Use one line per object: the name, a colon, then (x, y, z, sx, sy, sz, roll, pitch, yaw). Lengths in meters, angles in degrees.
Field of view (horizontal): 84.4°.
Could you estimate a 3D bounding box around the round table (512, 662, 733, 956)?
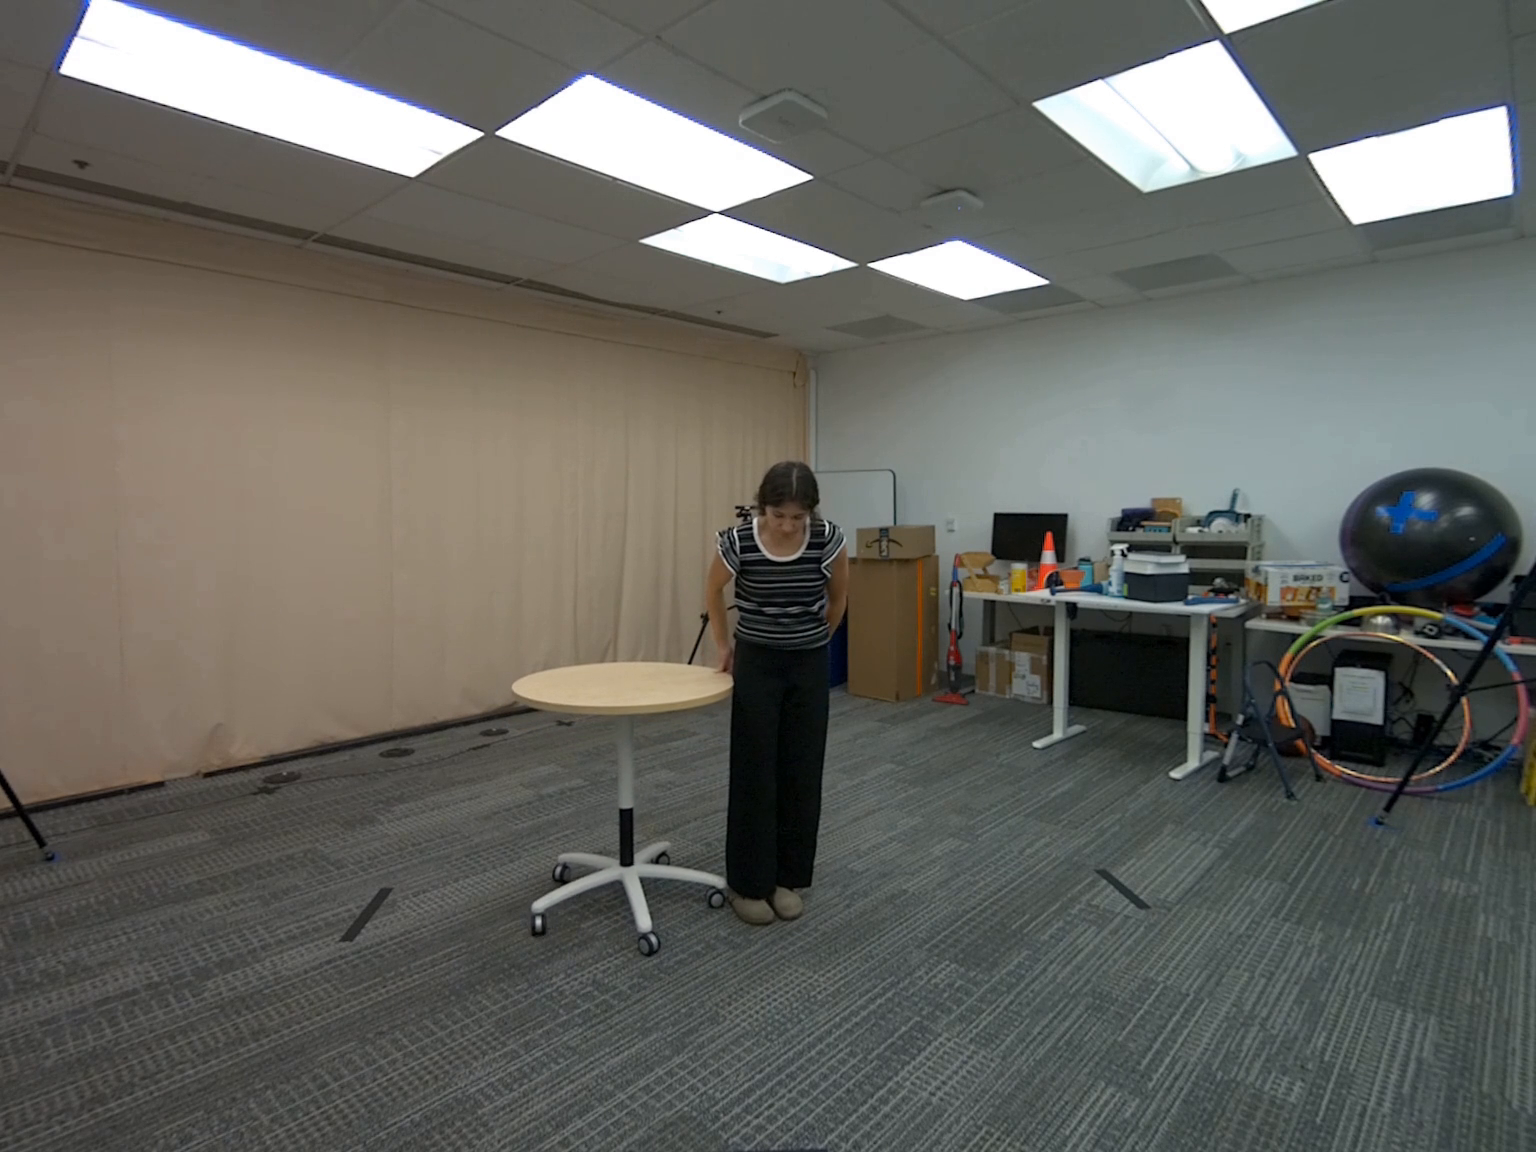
round table: (-0.486, 0.761, 2.930, 0.784, 0.785, 0.787, -1, 3, -2)
